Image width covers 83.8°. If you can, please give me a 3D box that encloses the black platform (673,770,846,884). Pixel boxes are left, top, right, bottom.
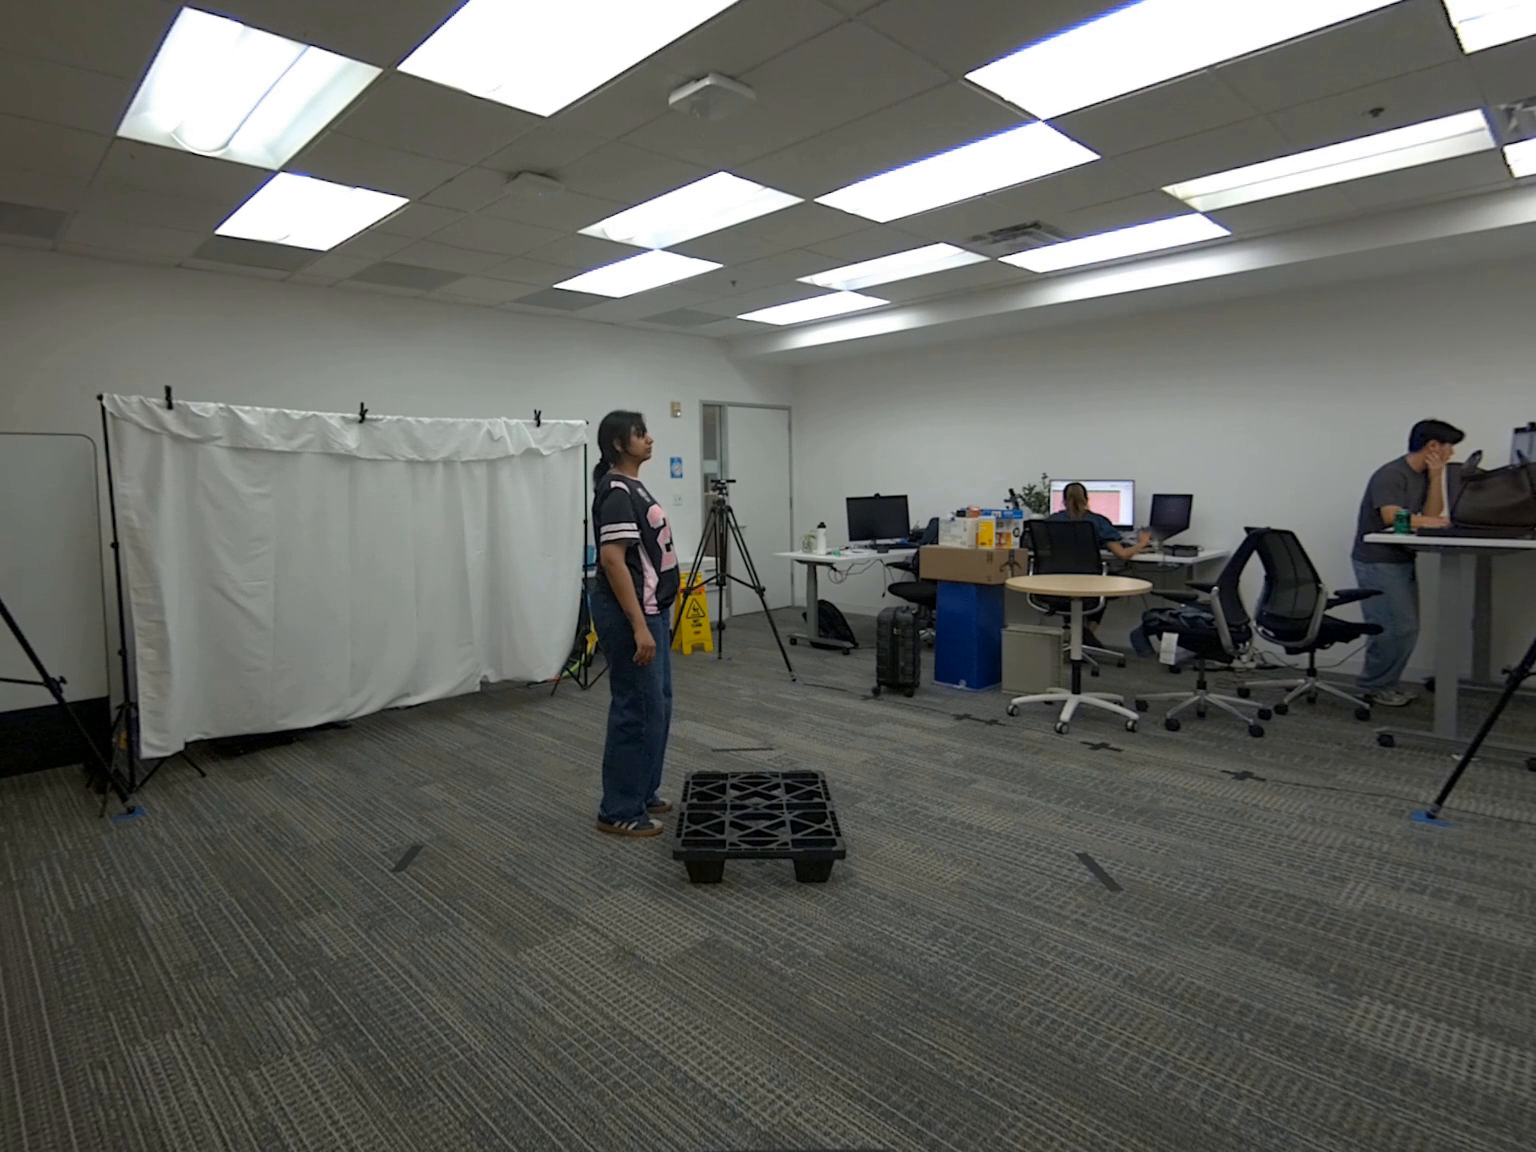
[{"bbox_3d":[-0.043,0.960,3.309,0.606,0.143,0.808,-2,6,0],"label":"black platform"}]
